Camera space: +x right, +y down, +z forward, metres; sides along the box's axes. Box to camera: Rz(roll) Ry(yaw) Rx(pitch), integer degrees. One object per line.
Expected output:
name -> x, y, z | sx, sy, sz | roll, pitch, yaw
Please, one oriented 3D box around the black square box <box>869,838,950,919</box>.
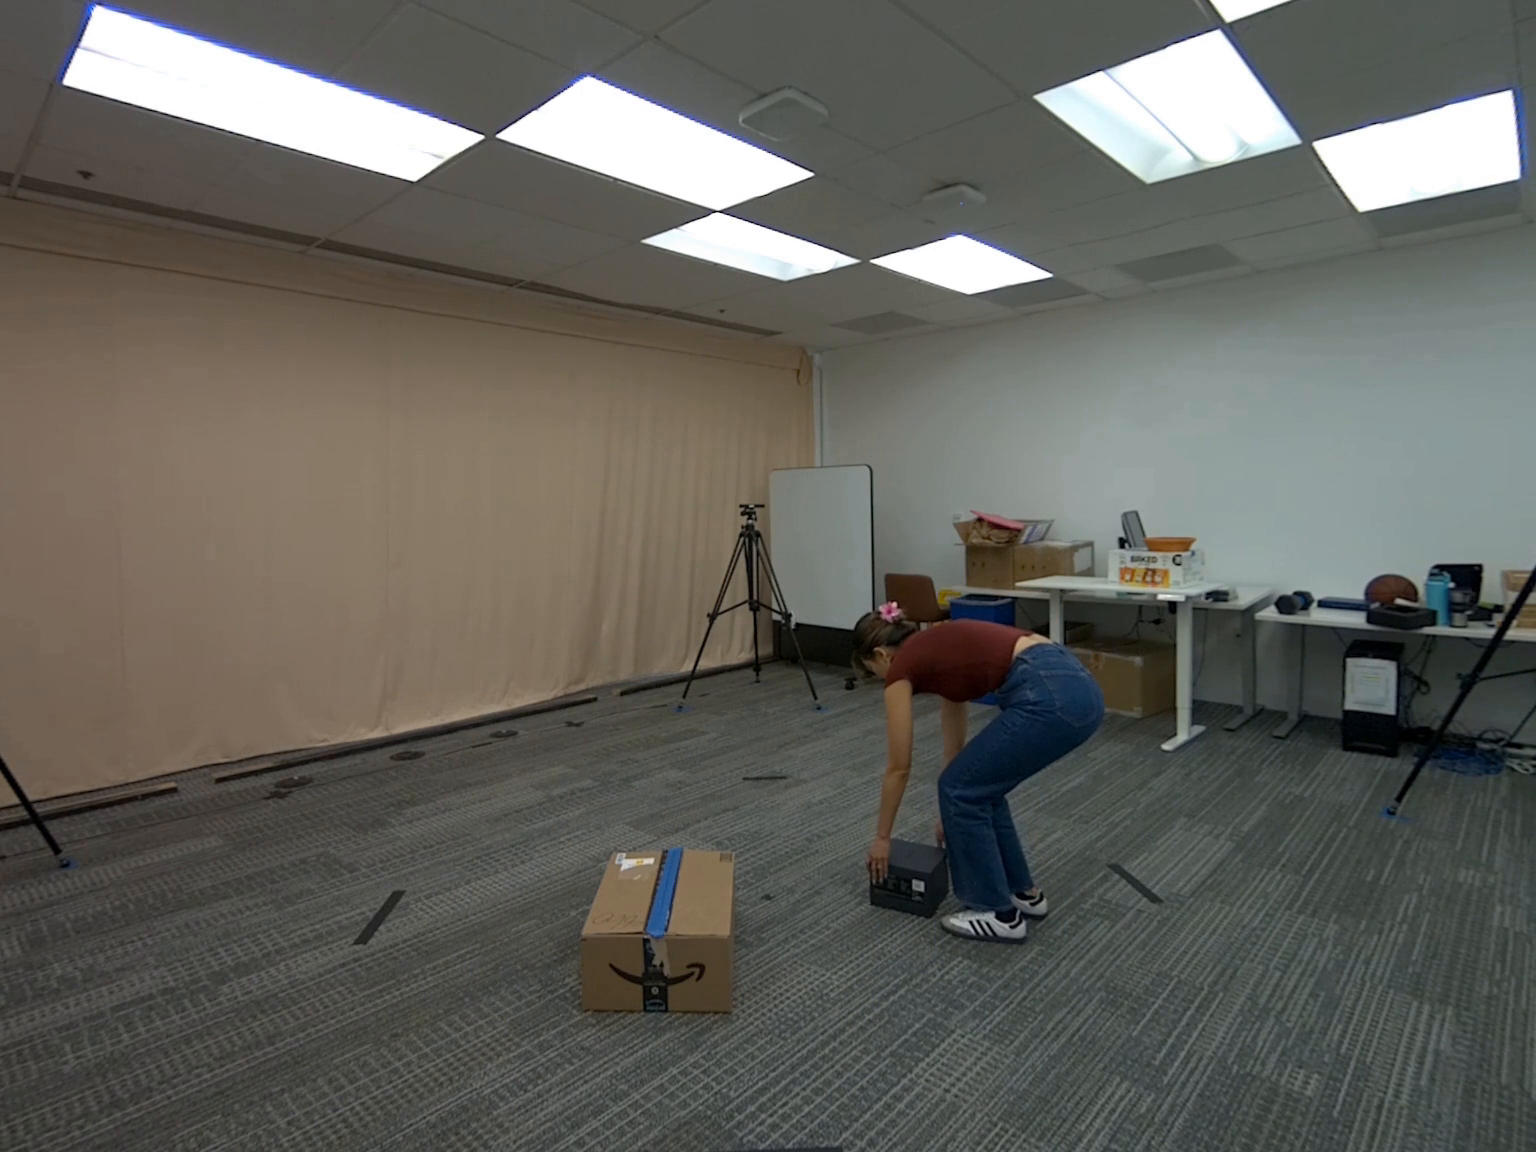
black square box -> 0.501, 1.048, 2.949 | 0.223, 0.155, 0.222 | 2, 5, 28
